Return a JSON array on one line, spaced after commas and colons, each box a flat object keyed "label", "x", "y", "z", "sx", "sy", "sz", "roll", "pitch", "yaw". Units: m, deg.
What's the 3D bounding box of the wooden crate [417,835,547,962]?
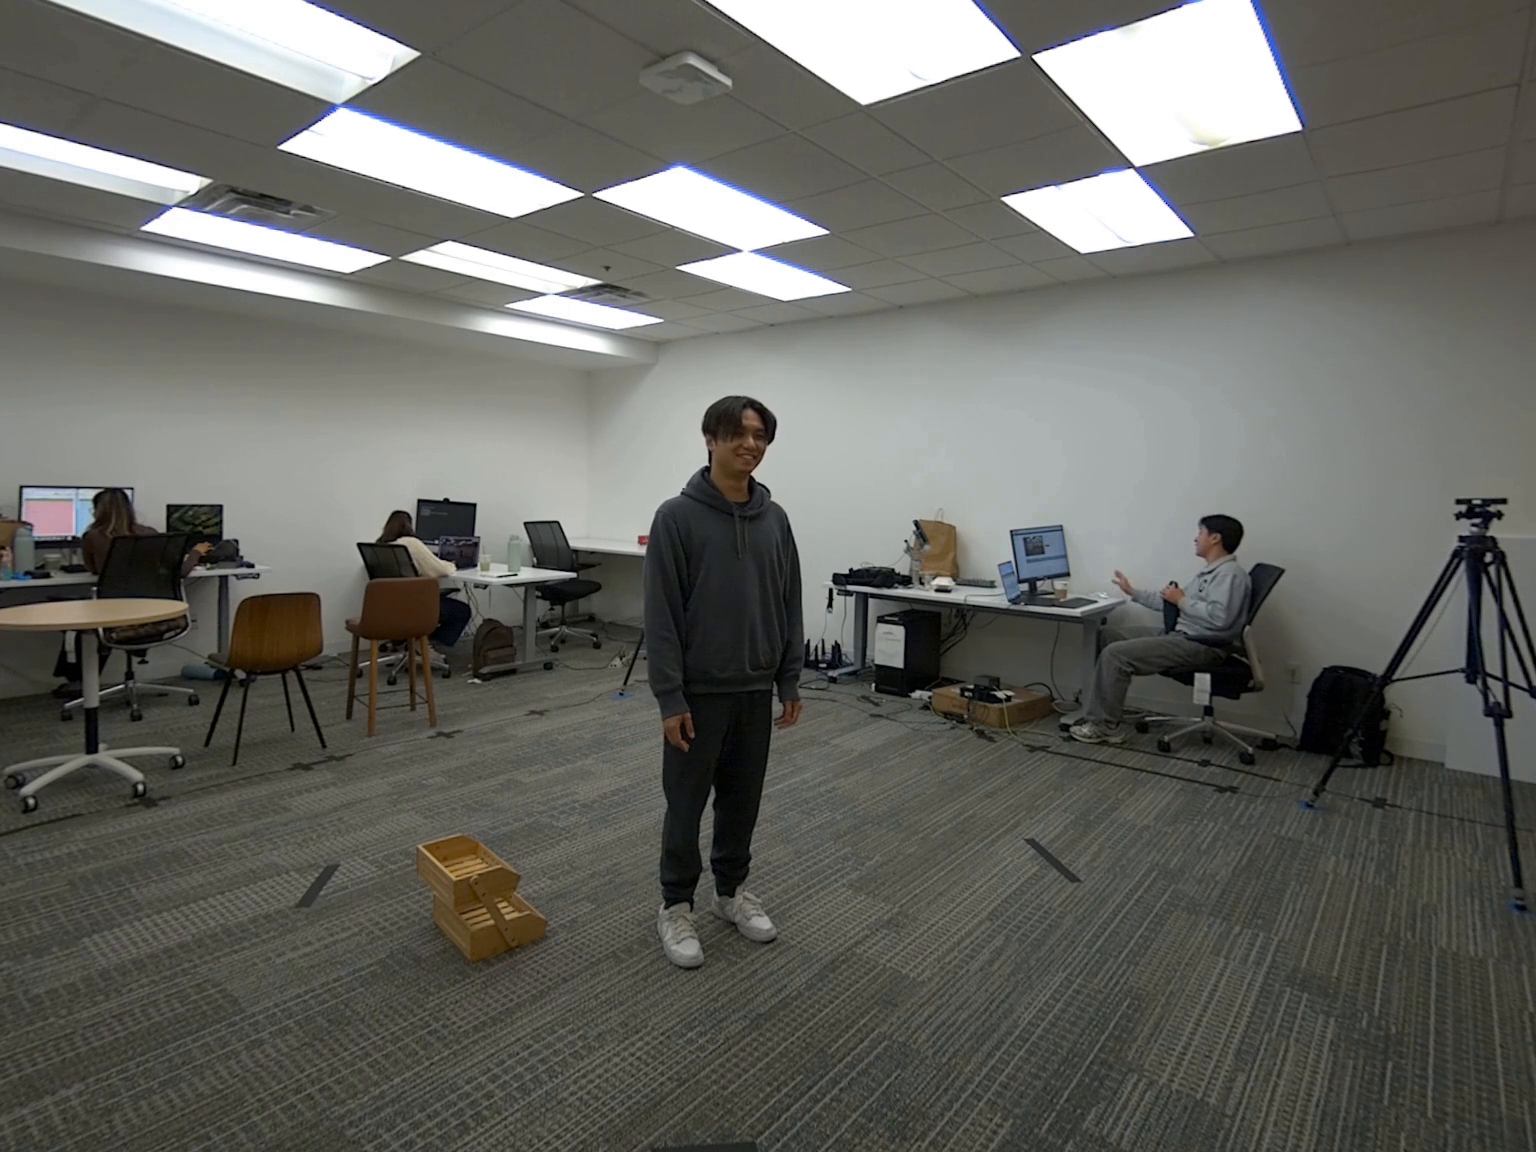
[{"label": "wooden crate", "x": -0.897, "y": 0.967, "z": 2.647, "sx": 0.293, "sy": 0.272, "sz": 0.335, "roll": -4, "pitch": 6, "yaw": -41}]
